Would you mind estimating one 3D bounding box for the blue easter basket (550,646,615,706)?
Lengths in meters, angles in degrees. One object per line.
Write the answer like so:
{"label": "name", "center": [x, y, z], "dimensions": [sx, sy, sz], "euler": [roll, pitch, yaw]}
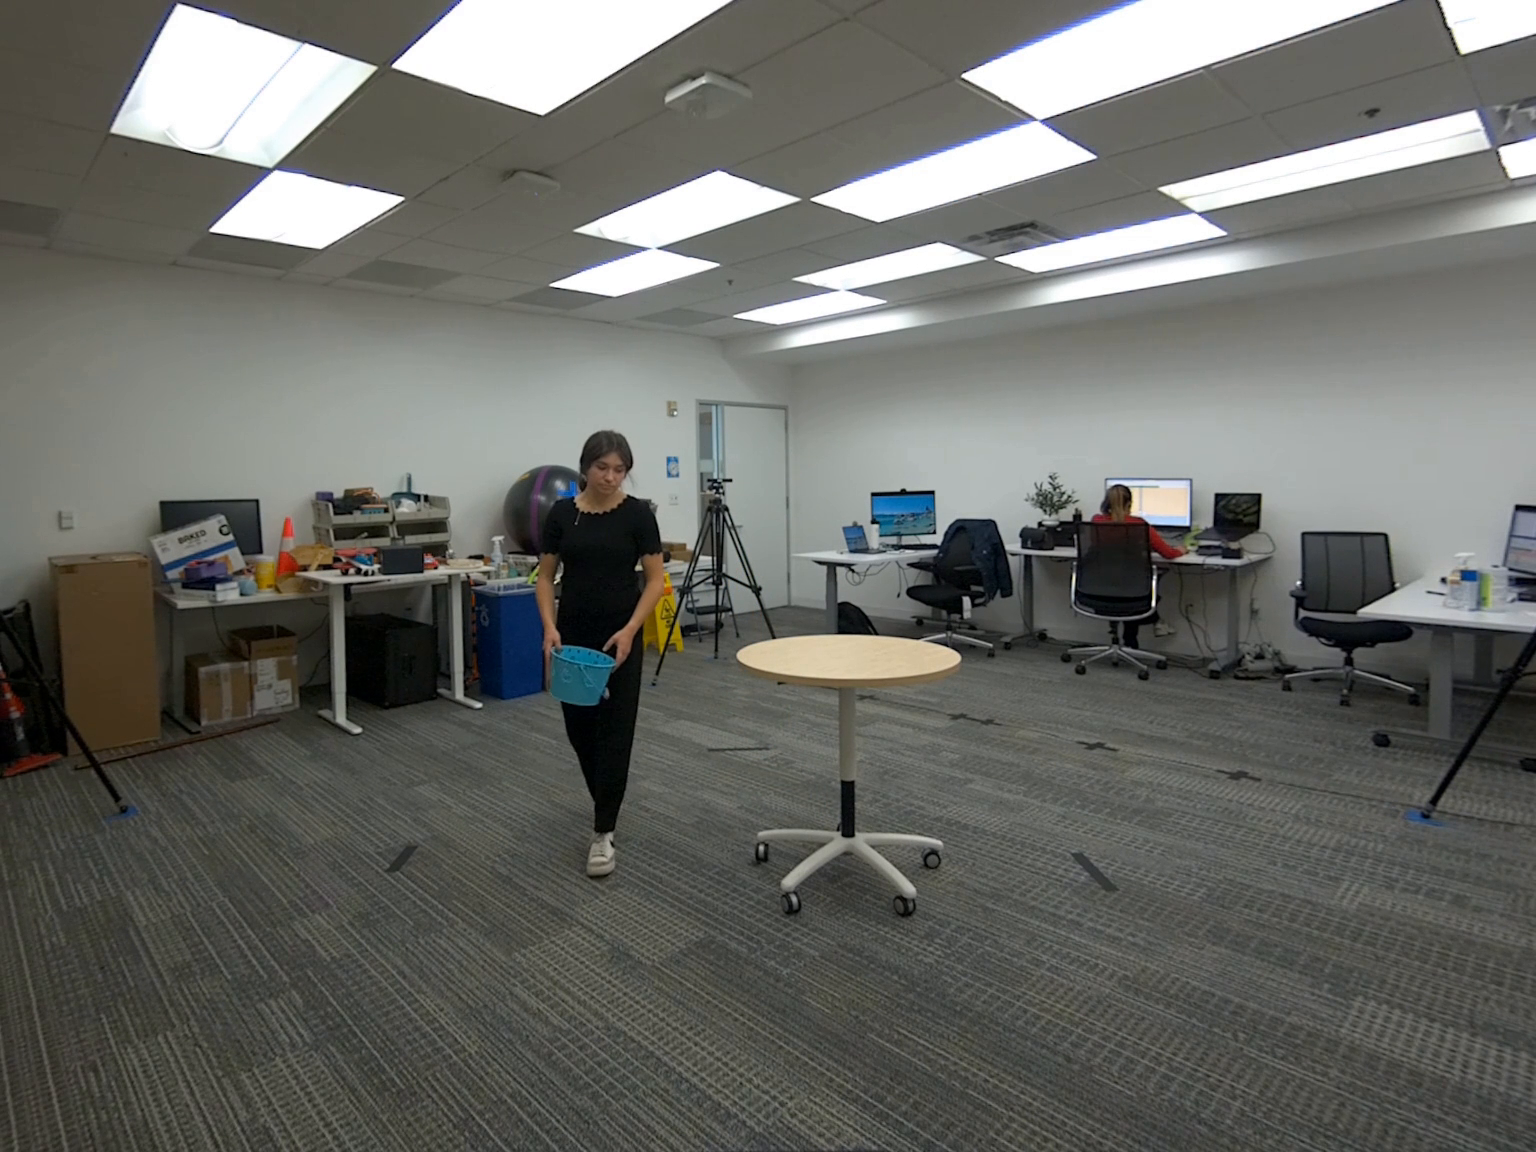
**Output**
{"label": "blue easter basket", "center": [-0.667, 0.363, 3.045], "dimensions": [0.243, 0.155, 0.244], "euler": [14, 3, -2]}
